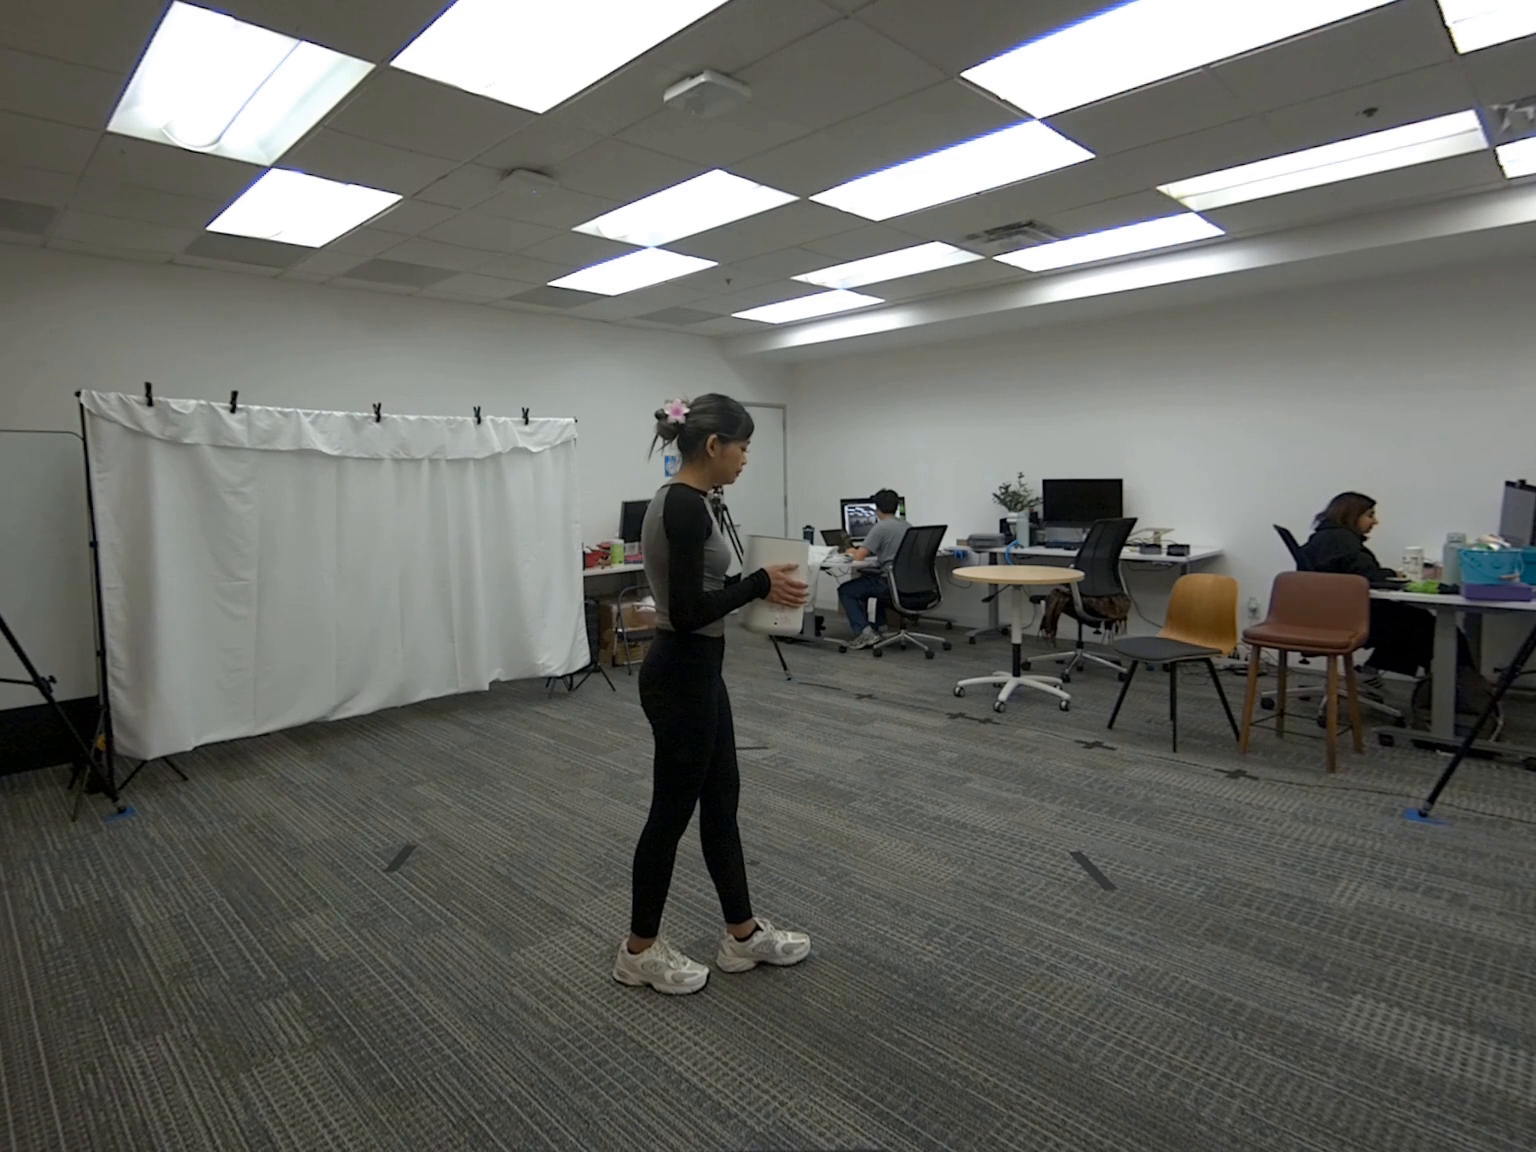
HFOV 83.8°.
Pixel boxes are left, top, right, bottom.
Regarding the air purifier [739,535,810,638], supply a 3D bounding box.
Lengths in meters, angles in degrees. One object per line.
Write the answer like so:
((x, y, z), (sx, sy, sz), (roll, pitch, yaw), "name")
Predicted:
((0.011, 0.025, 2.364), (0.170, 0.266, 0.173), (6, -1, -8), "air purifier")
